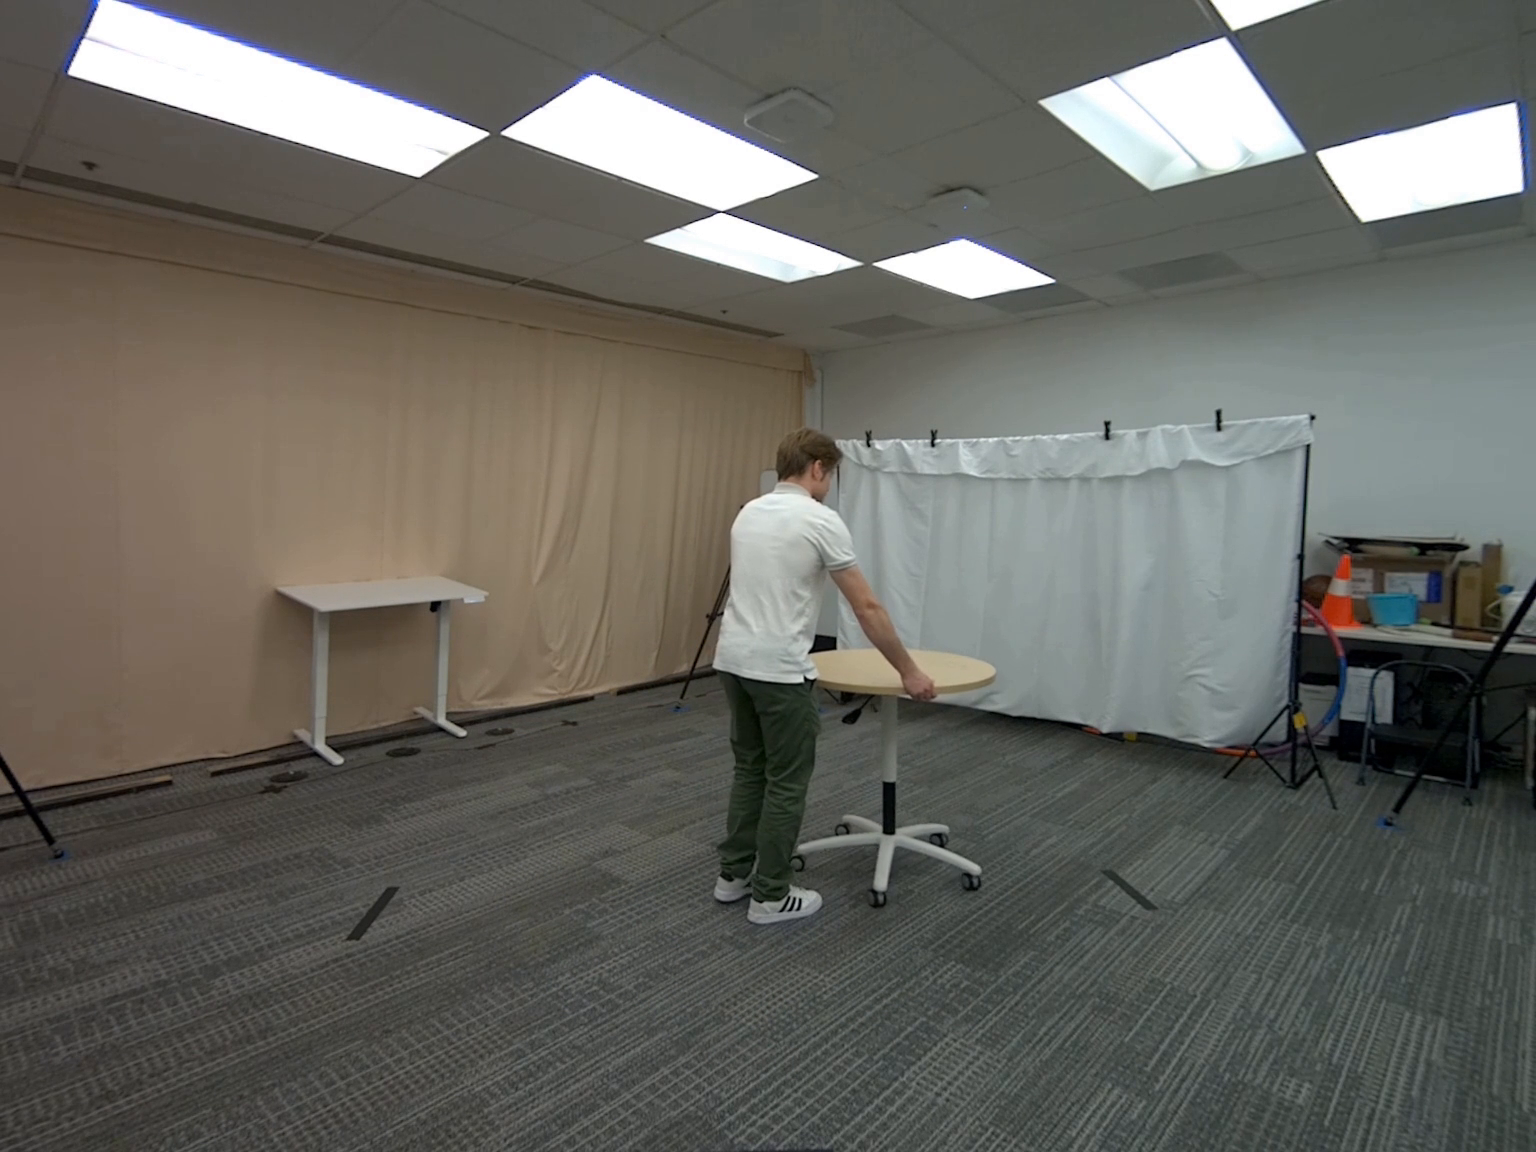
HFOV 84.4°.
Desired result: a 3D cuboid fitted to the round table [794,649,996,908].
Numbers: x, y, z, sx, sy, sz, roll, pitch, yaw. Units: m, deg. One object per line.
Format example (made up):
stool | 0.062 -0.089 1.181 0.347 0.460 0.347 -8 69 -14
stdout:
round table | 0.466 0.734 3.205 0.763 0.792 0.766 0 3 -2
